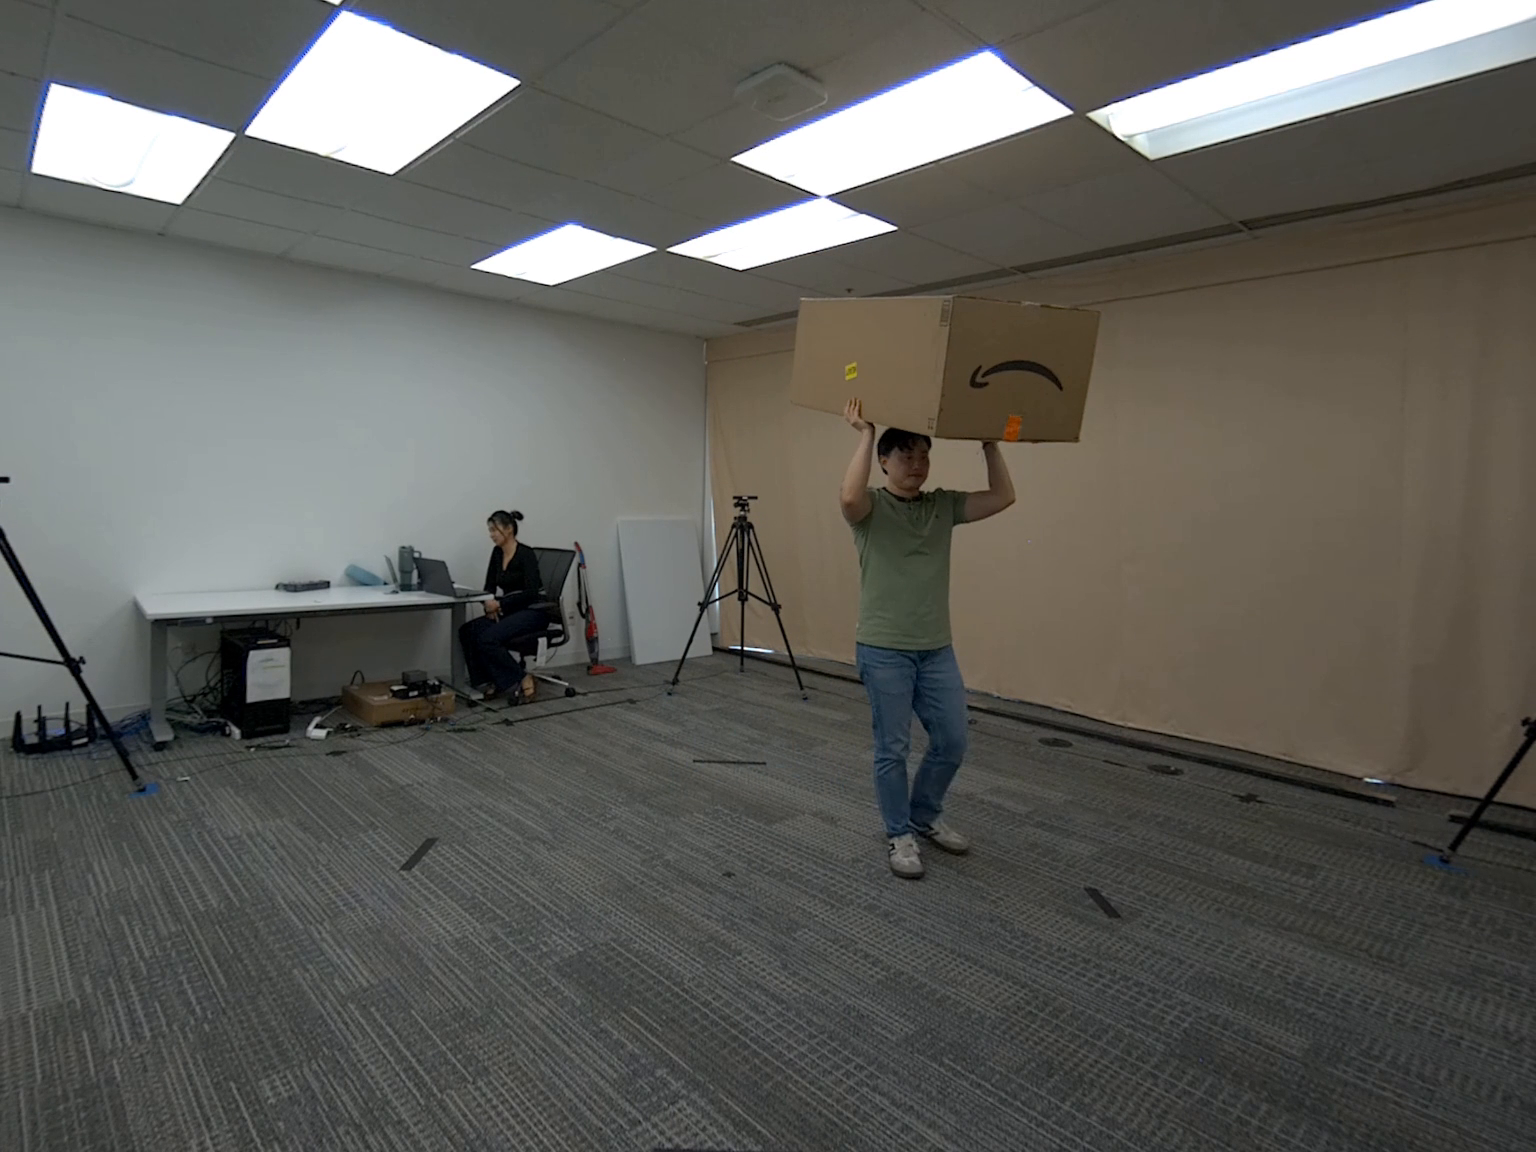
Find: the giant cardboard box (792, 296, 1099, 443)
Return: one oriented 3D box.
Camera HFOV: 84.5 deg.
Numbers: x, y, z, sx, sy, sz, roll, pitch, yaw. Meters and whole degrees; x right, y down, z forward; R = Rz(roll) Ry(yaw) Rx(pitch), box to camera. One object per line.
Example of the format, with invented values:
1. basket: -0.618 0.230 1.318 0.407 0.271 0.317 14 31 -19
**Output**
1. giant cardboard box: 0.567 -0.773 3.084 0.568 0.422 1.053 -2 17 -23
